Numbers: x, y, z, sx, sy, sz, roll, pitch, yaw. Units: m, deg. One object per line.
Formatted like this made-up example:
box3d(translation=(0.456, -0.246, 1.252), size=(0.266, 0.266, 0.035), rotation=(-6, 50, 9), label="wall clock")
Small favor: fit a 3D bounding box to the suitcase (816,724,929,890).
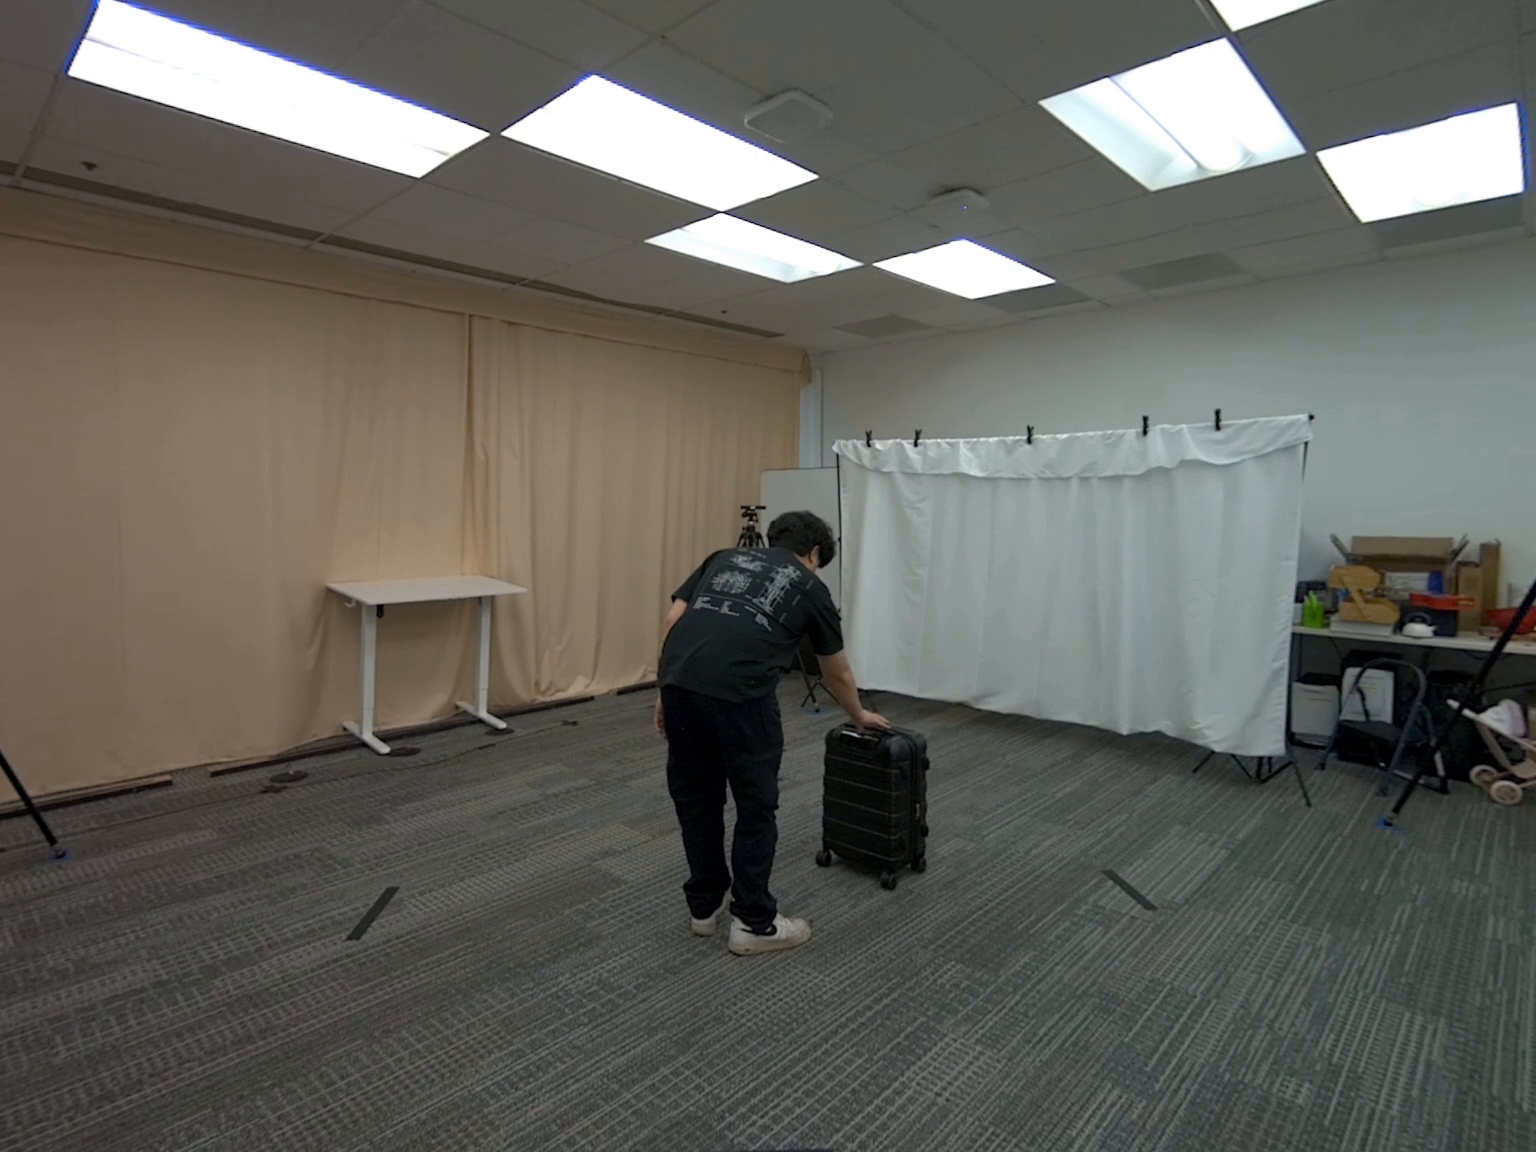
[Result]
box3d(translation=(0.409, 0.845, 3.239), size=(0.388, 0.549, 0.240), rotation=(2, 1, 42), label="suitcase")
